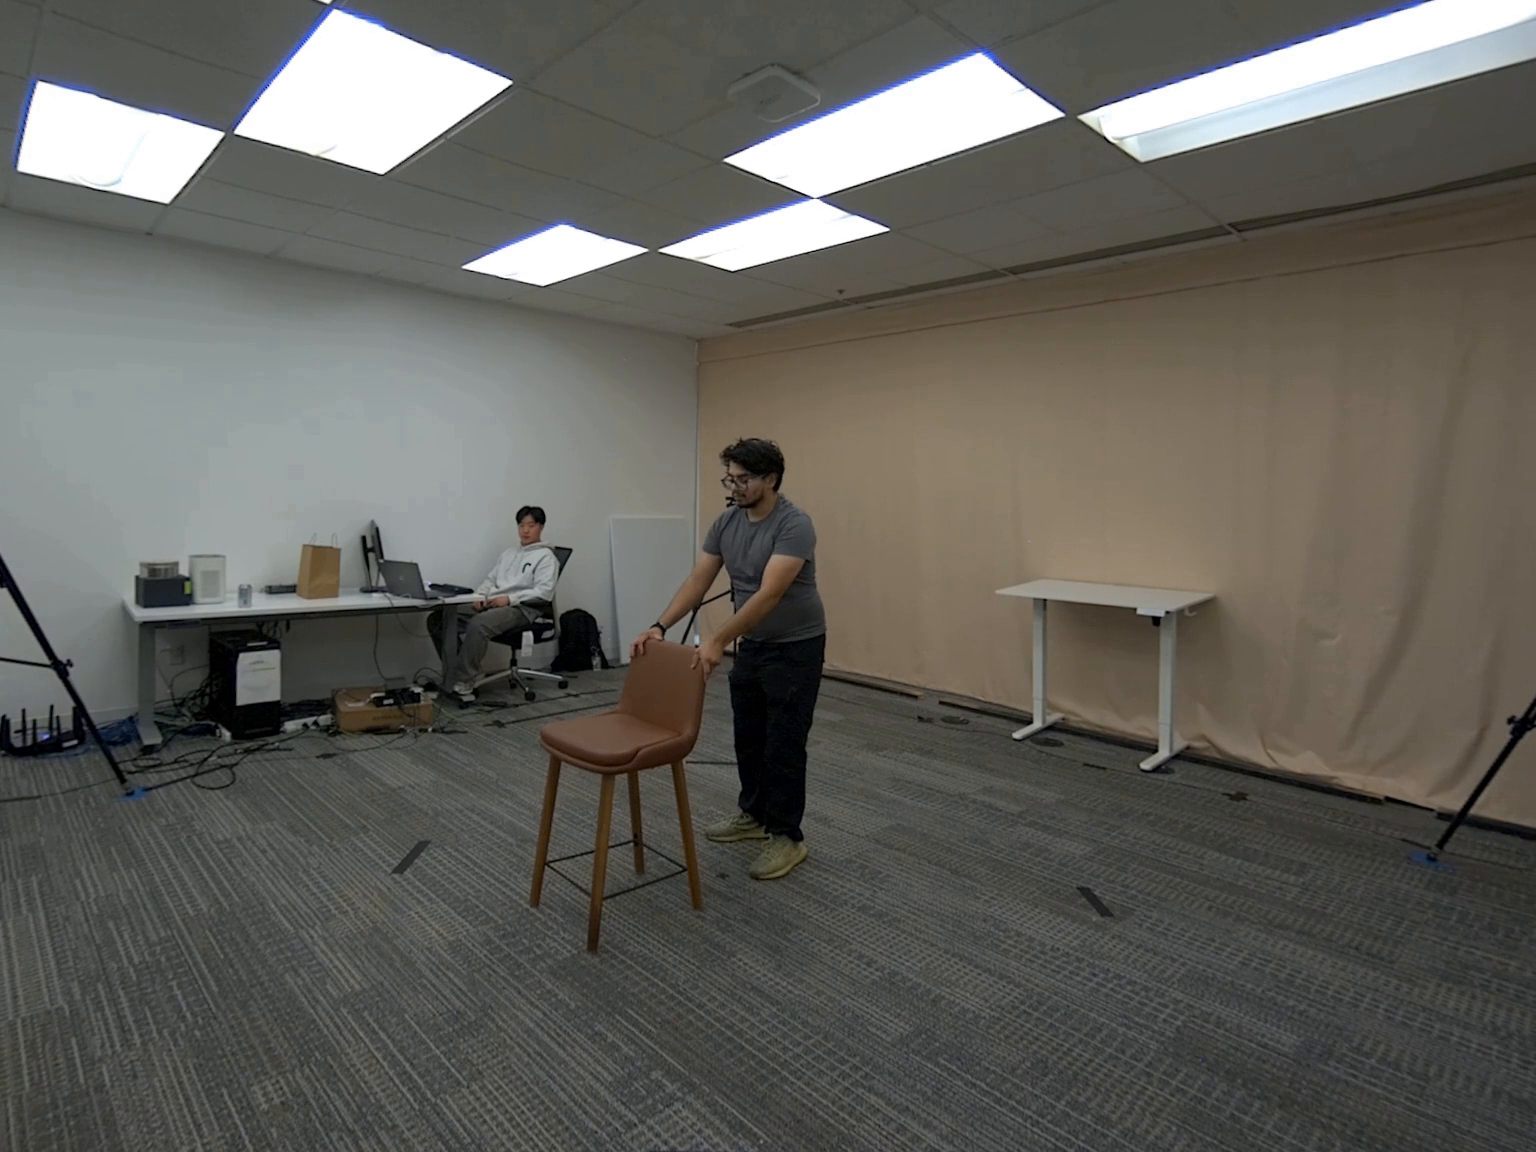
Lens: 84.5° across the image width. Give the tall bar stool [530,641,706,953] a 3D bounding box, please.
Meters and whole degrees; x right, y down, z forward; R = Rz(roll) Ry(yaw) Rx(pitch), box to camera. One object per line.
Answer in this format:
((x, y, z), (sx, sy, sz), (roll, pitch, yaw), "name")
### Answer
((-0.499, 0.688, 2.829), (0.456, 0.889, 0.468), (1, 2, -42), "tall bar stool")
